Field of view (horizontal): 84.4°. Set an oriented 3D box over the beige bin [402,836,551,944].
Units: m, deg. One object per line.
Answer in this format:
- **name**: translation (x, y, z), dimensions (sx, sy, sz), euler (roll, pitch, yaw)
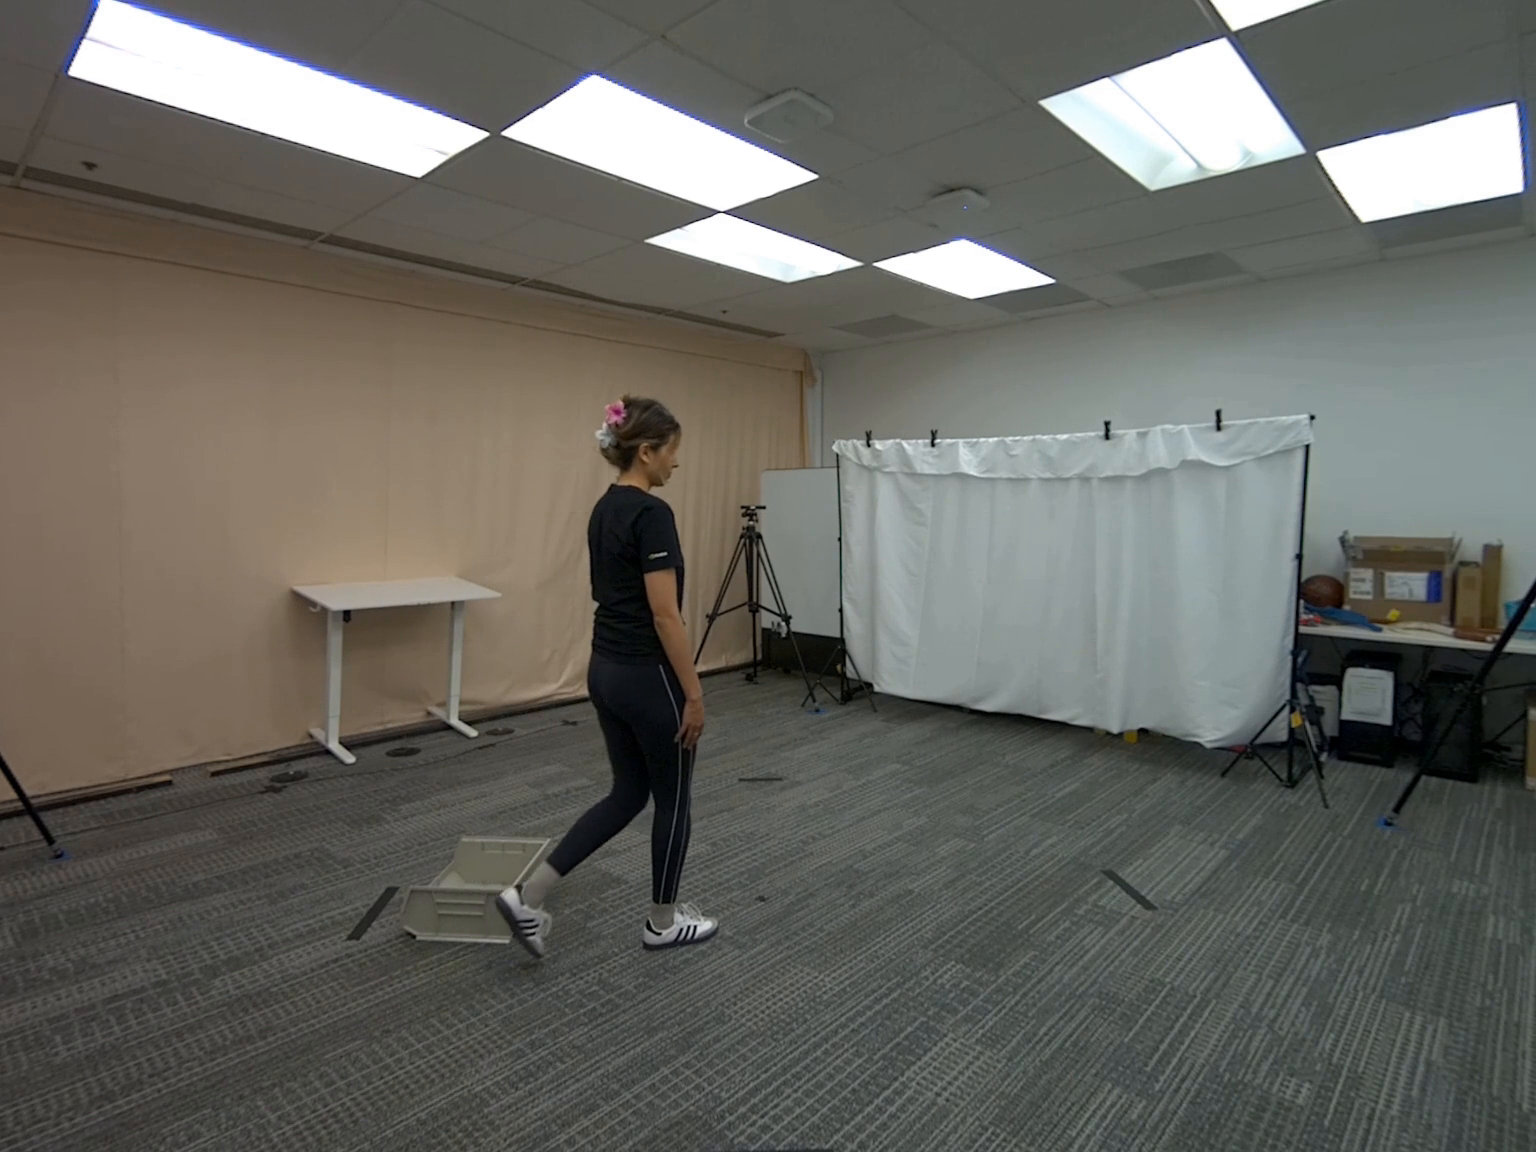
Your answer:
- **beige bin**: translation (-1.006, 1.075, 2.898), dimensions (0.379, 0.188, 0.421), euler (1, 3, 4)
